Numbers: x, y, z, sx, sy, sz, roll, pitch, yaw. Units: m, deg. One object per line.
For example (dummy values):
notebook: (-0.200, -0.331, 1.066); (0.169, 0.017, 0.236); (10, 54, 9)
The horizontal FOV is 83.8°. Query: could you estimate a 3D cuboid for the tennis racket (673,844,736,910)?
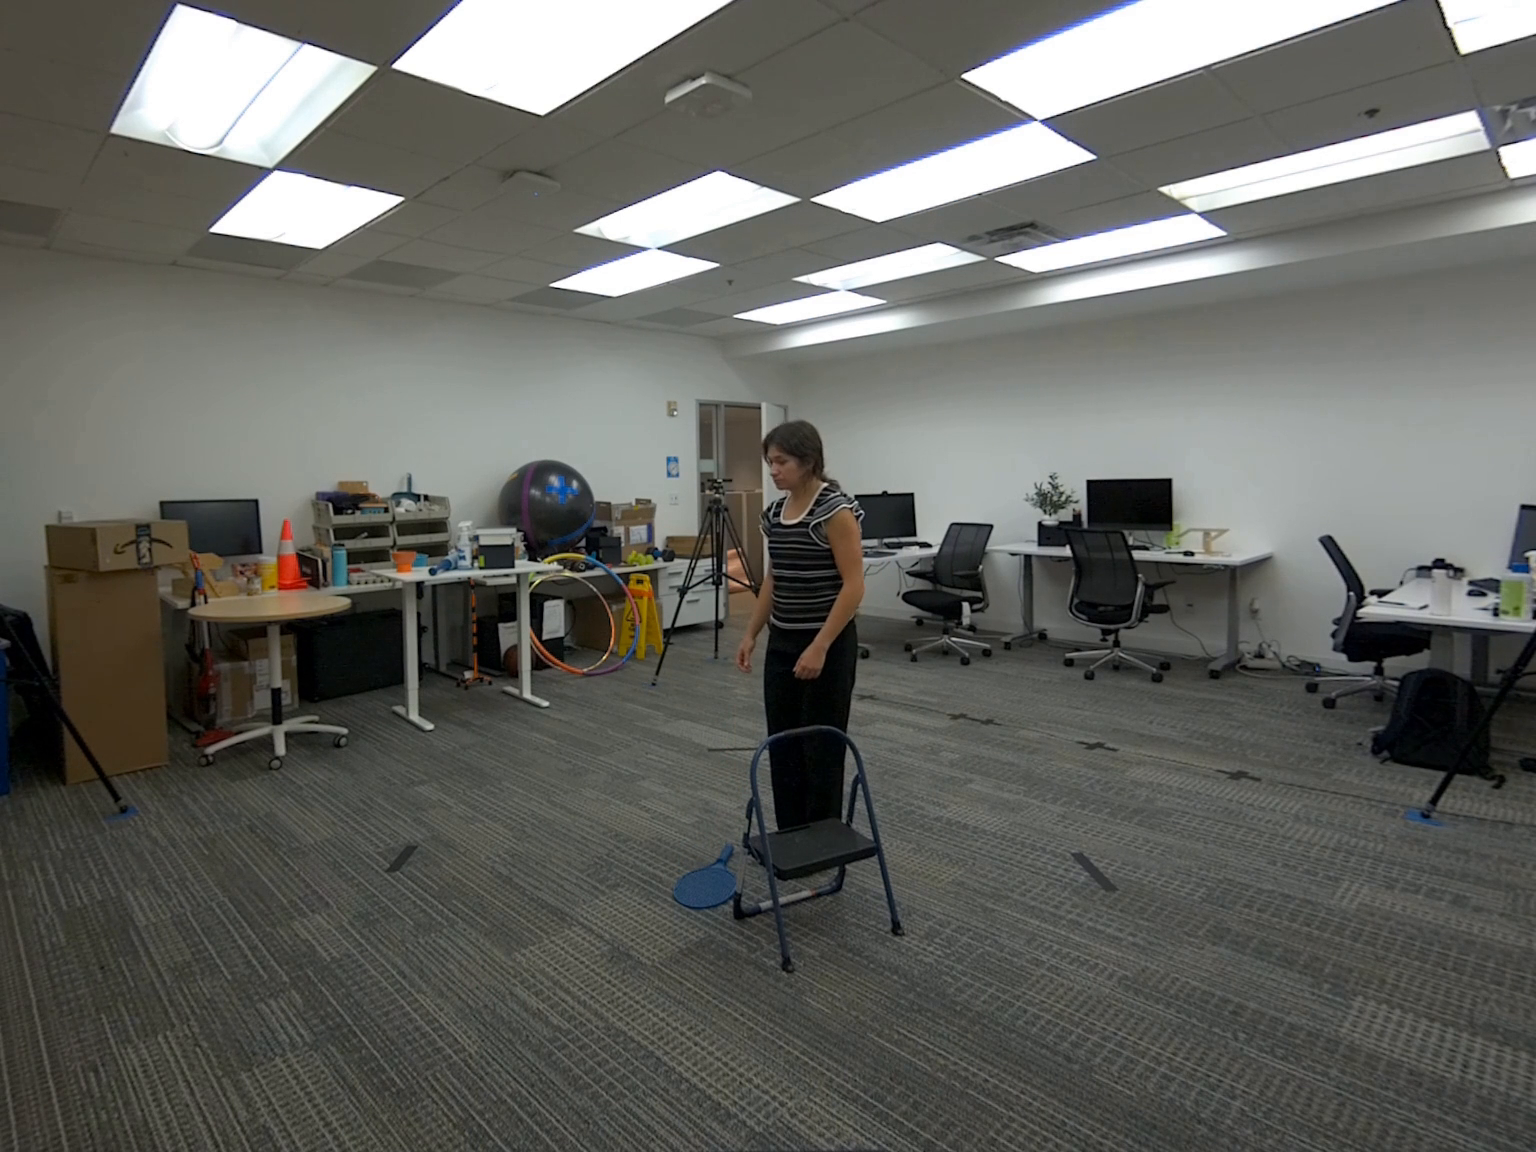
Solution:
tennis racket: (-0.187, 1.047, 2.985); (0.217, 0.031, 0.429); (0, 9, 16)
